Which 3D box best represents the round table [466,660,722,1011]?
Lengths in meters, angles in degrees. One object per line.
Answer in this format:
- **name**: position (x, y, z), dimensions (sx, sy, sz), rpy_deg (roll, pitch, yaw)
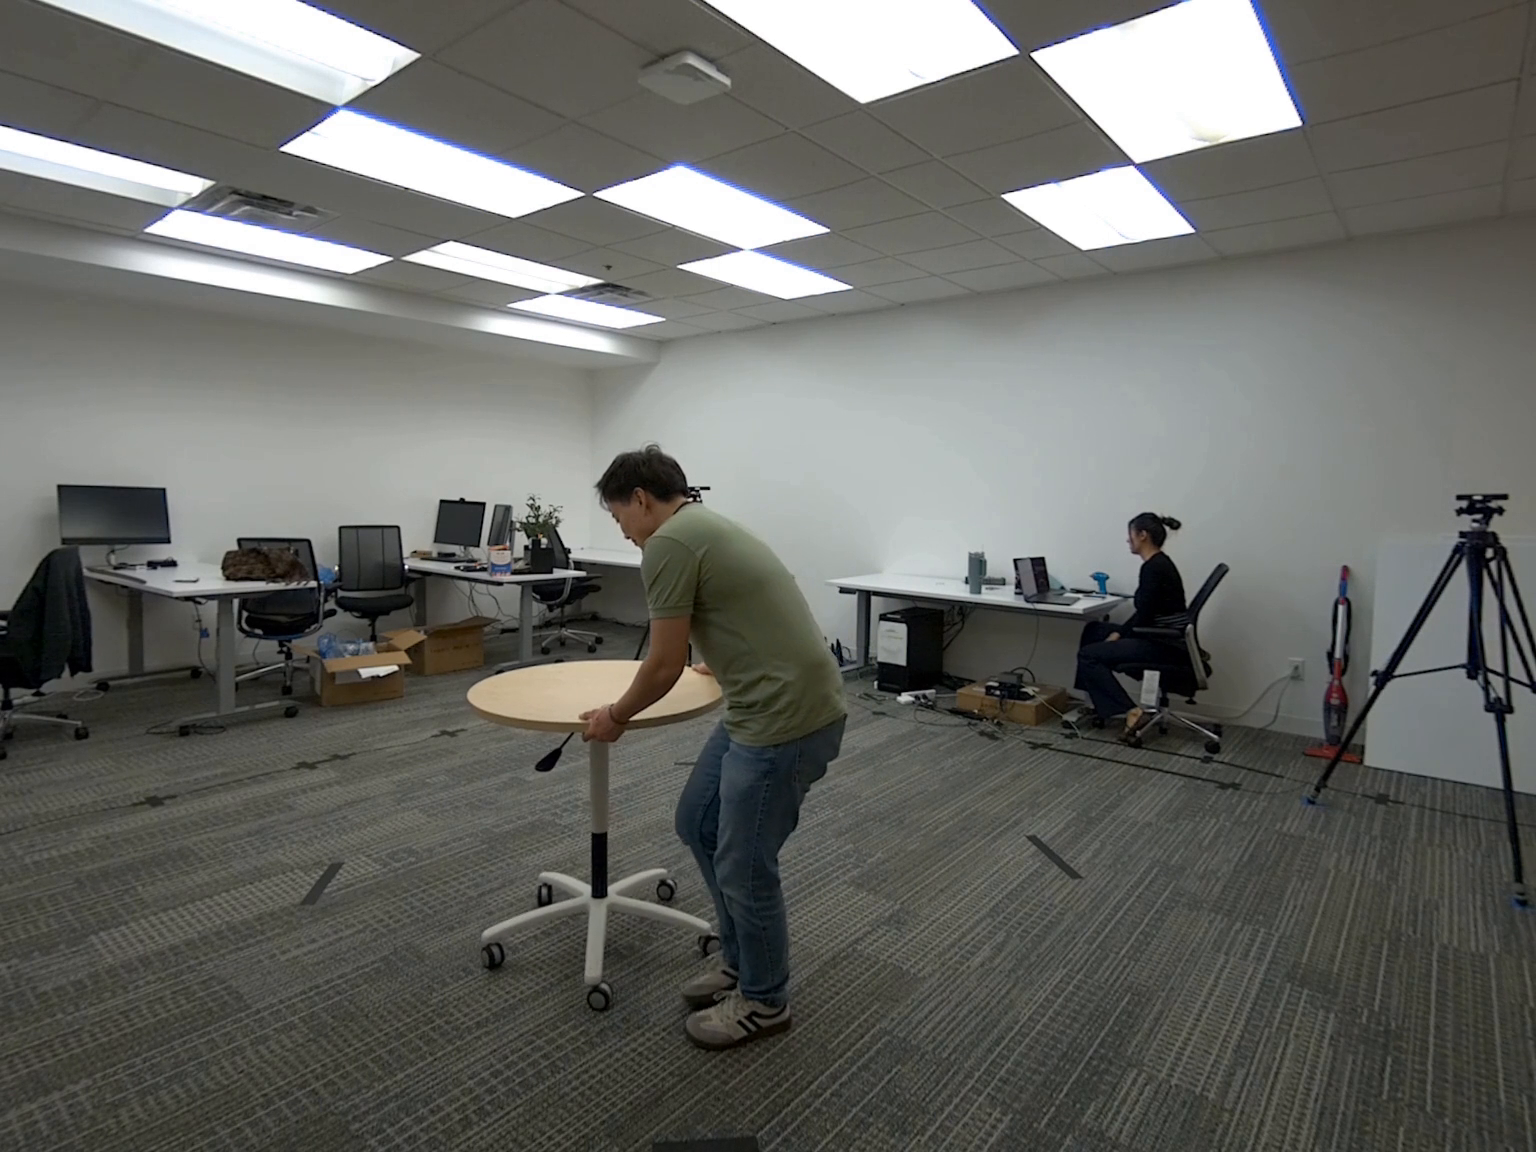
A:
- **round table**: position (-0.514, 0.724, 2.583), dimensions (0.763, 0.791, 0.768), rpy_deg (0, 4, -2)
